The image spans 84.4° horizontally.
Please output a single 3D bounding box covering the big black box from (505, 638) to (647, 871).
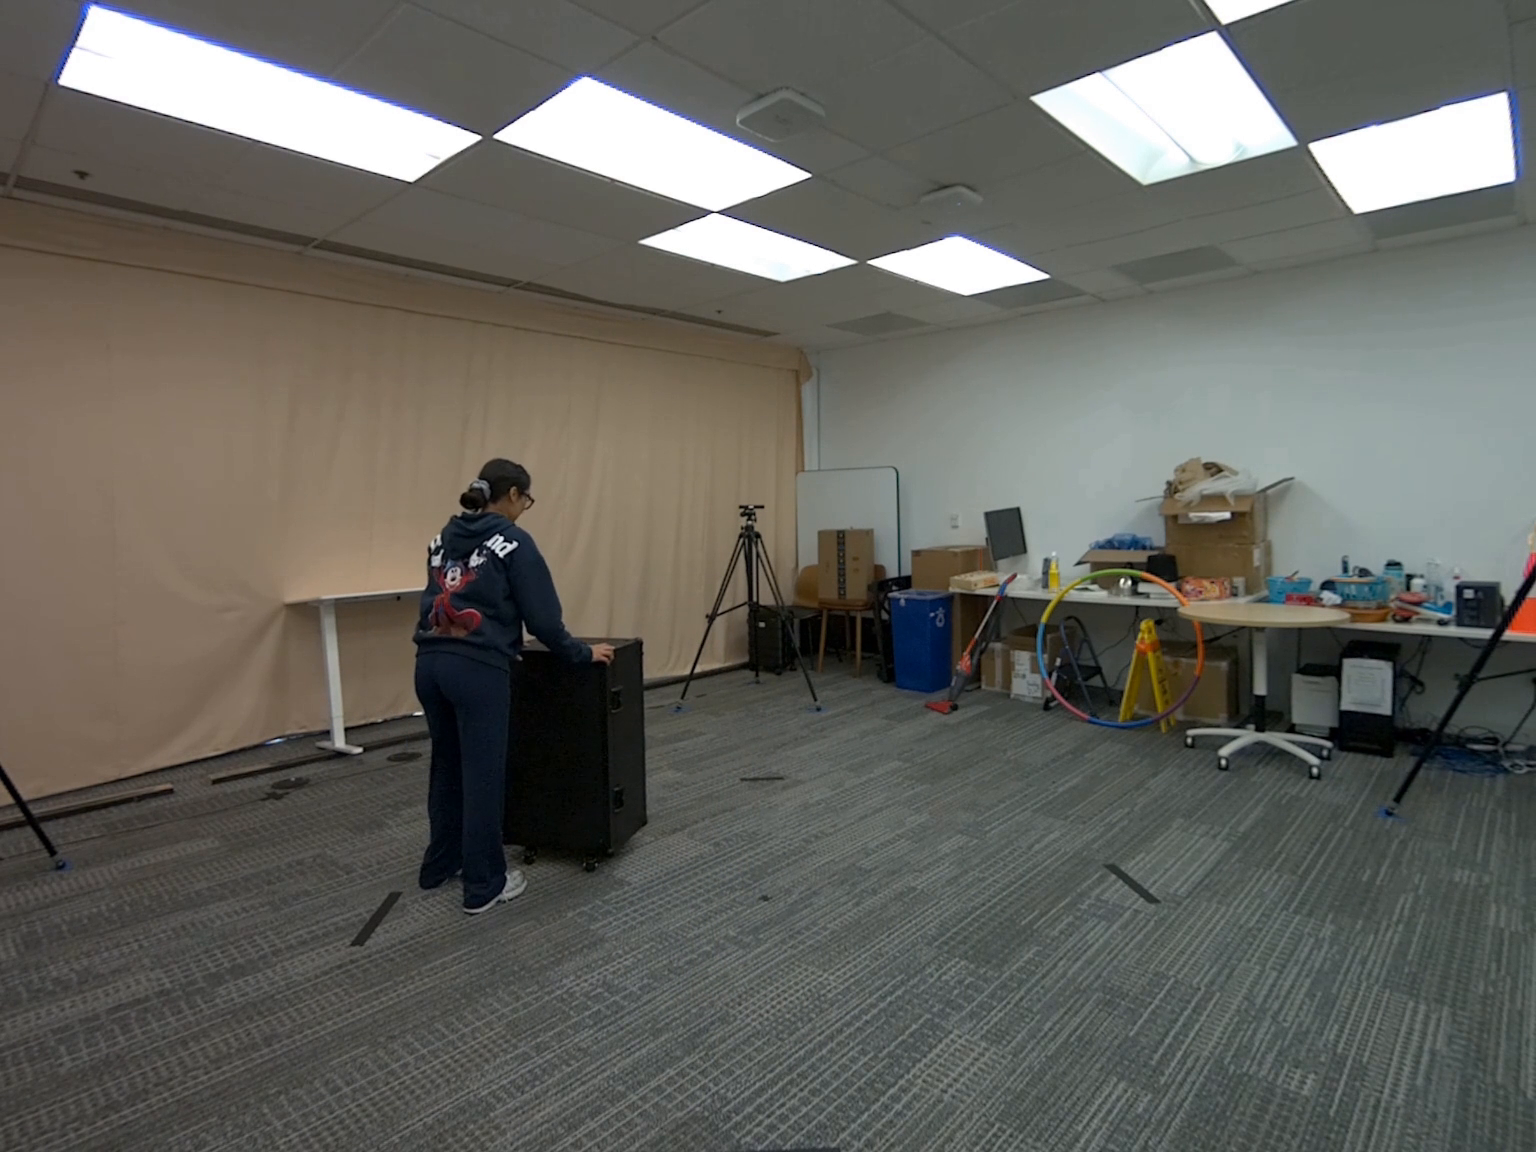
[{"bbox_3d":[-0.789,0.690,3.436,0.532,0.860,0.389,0,2,19],"label":"big black box"}]
